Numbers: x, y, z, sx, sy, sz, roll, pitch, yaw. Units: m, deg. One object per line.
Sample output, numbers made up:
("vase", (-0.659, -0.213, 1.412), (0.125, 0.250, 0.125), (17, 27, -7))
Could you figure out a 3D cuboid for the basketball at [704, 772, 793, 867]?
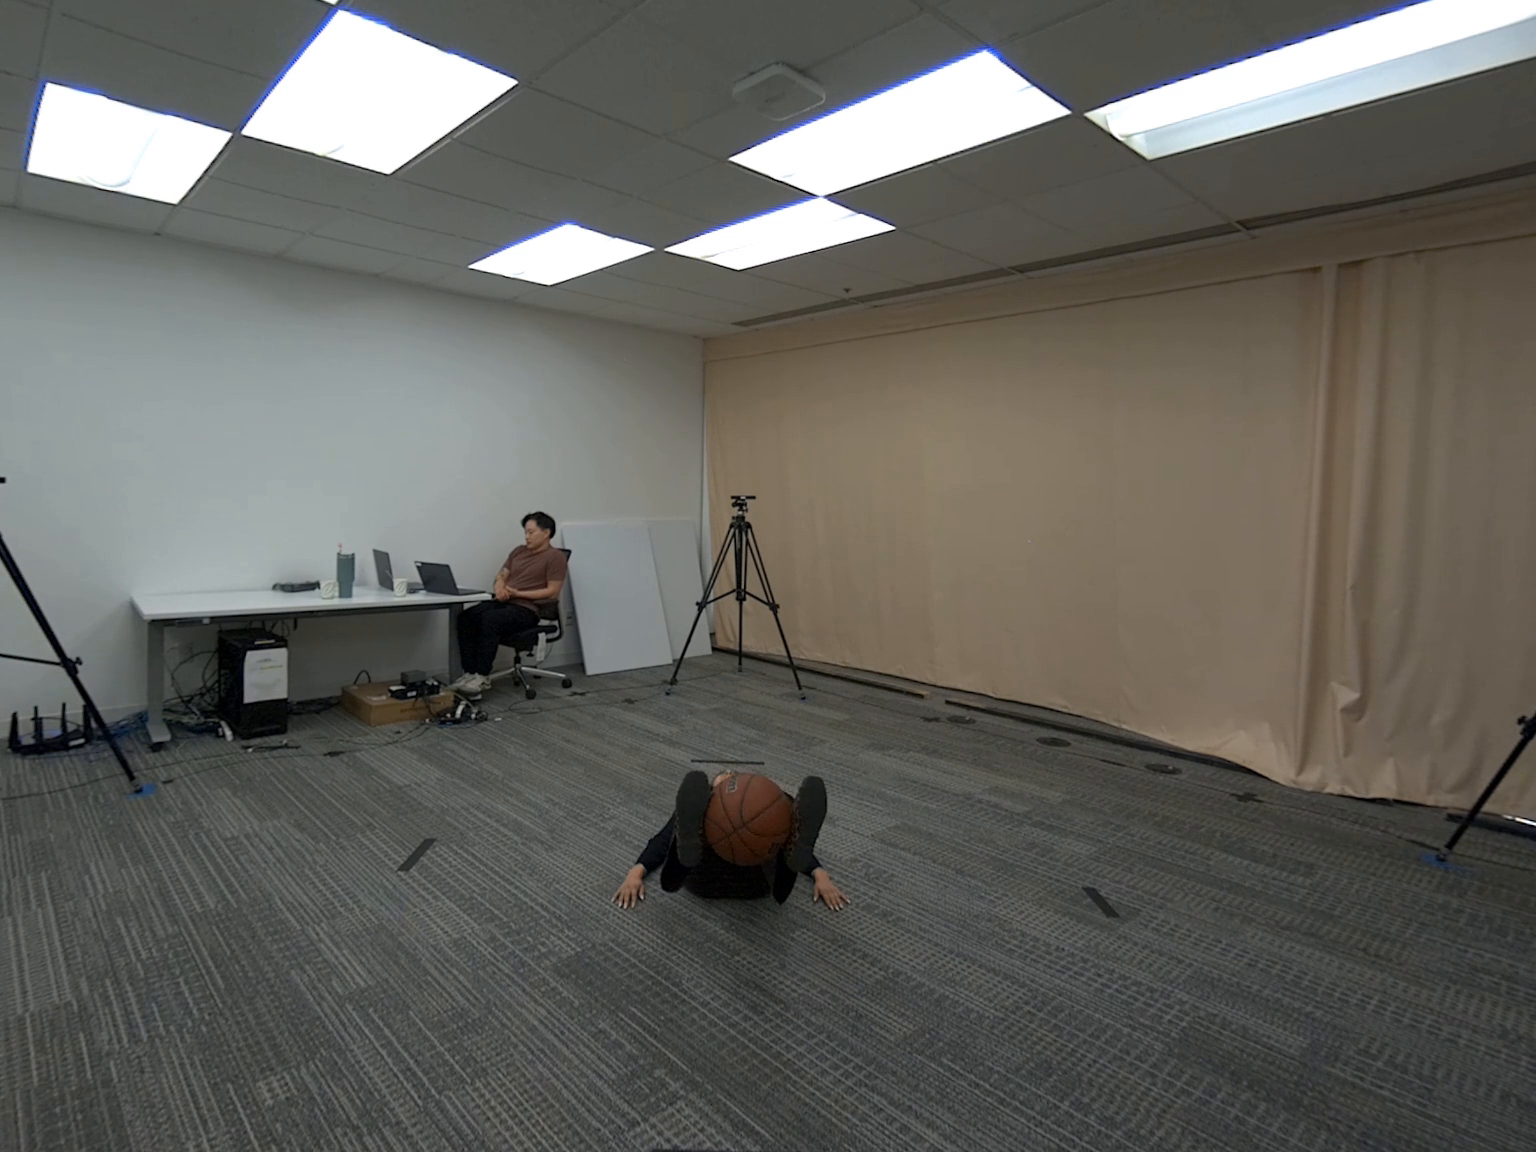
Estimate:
("basketball", (-0.064, 0.647, 2.241), (0.235, 0.235, 0.237), (4, 5, -2))
